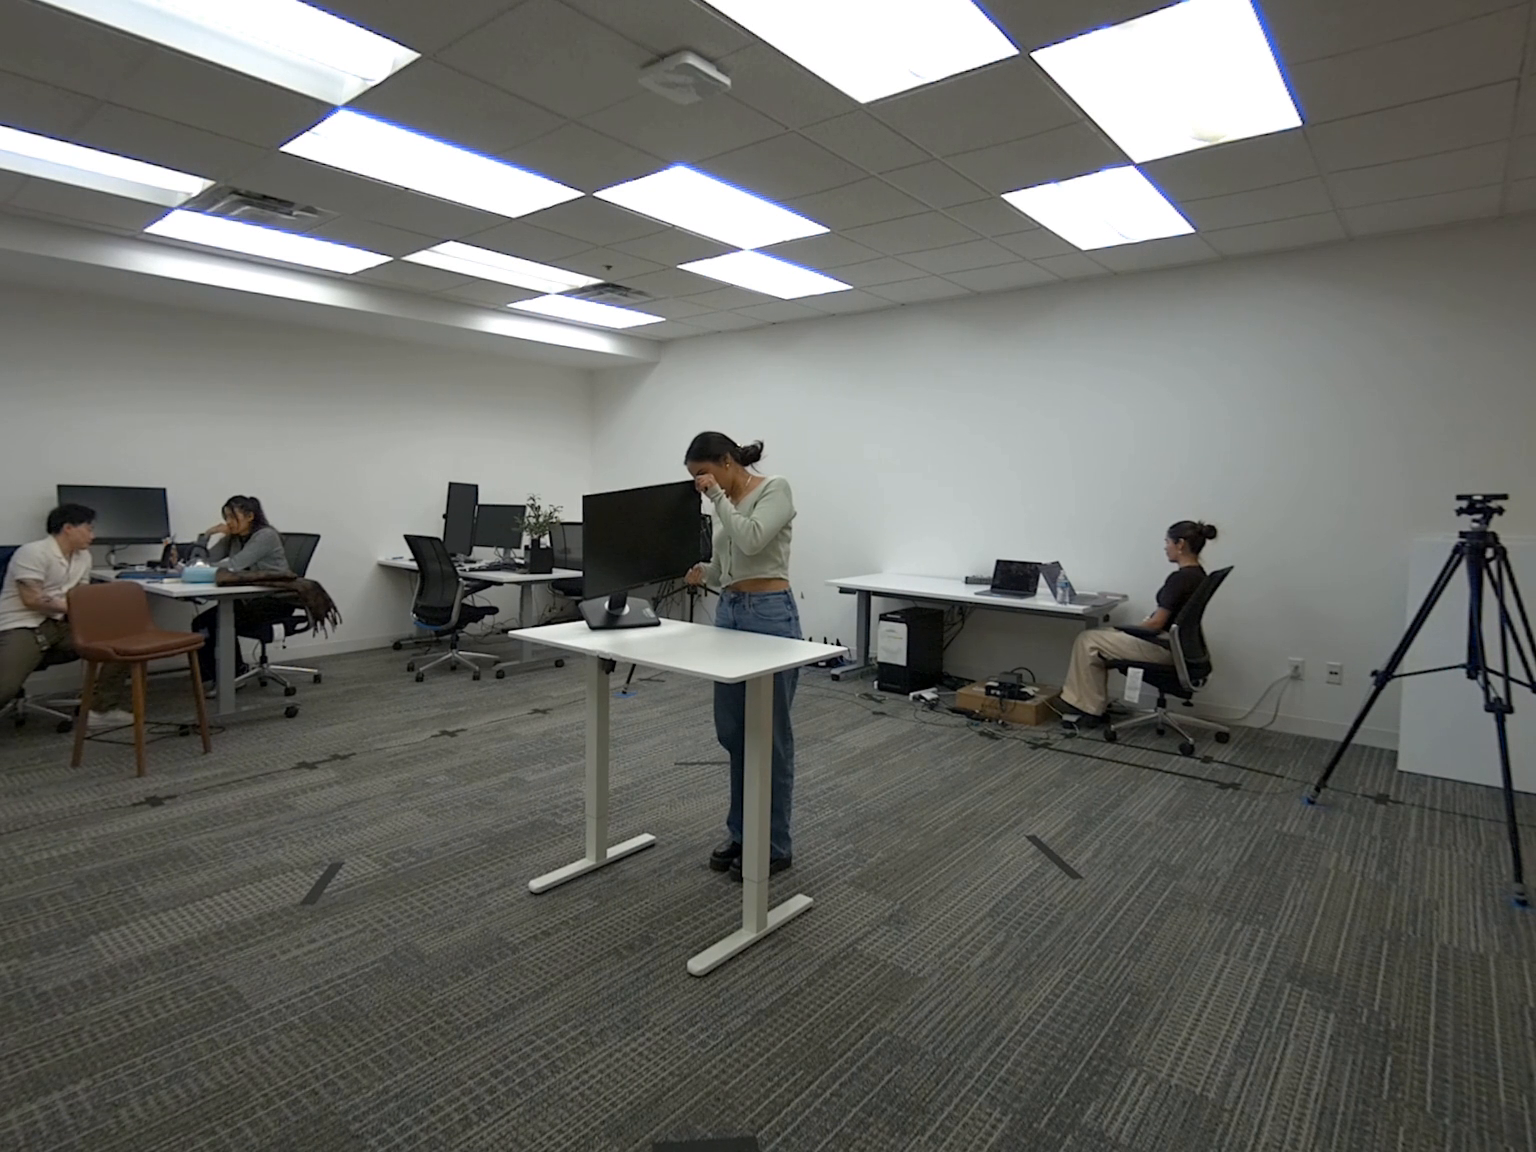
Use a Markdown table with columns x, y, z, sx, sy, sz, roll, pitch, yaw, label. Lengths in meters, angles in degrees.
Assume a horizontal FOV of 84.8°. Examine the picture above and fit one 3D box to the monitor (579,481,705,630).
| x | y | z | sx | sy | sz | roll | pitch | yaw | label |
| --- | --- | --- | --- | --- | --- | --- | --- | --- | --- |
| -0.484 | -0.073 | 2.983 | 0.194 | 0.515 | 0.526 | 29 | 27 | 31 | monitor |
